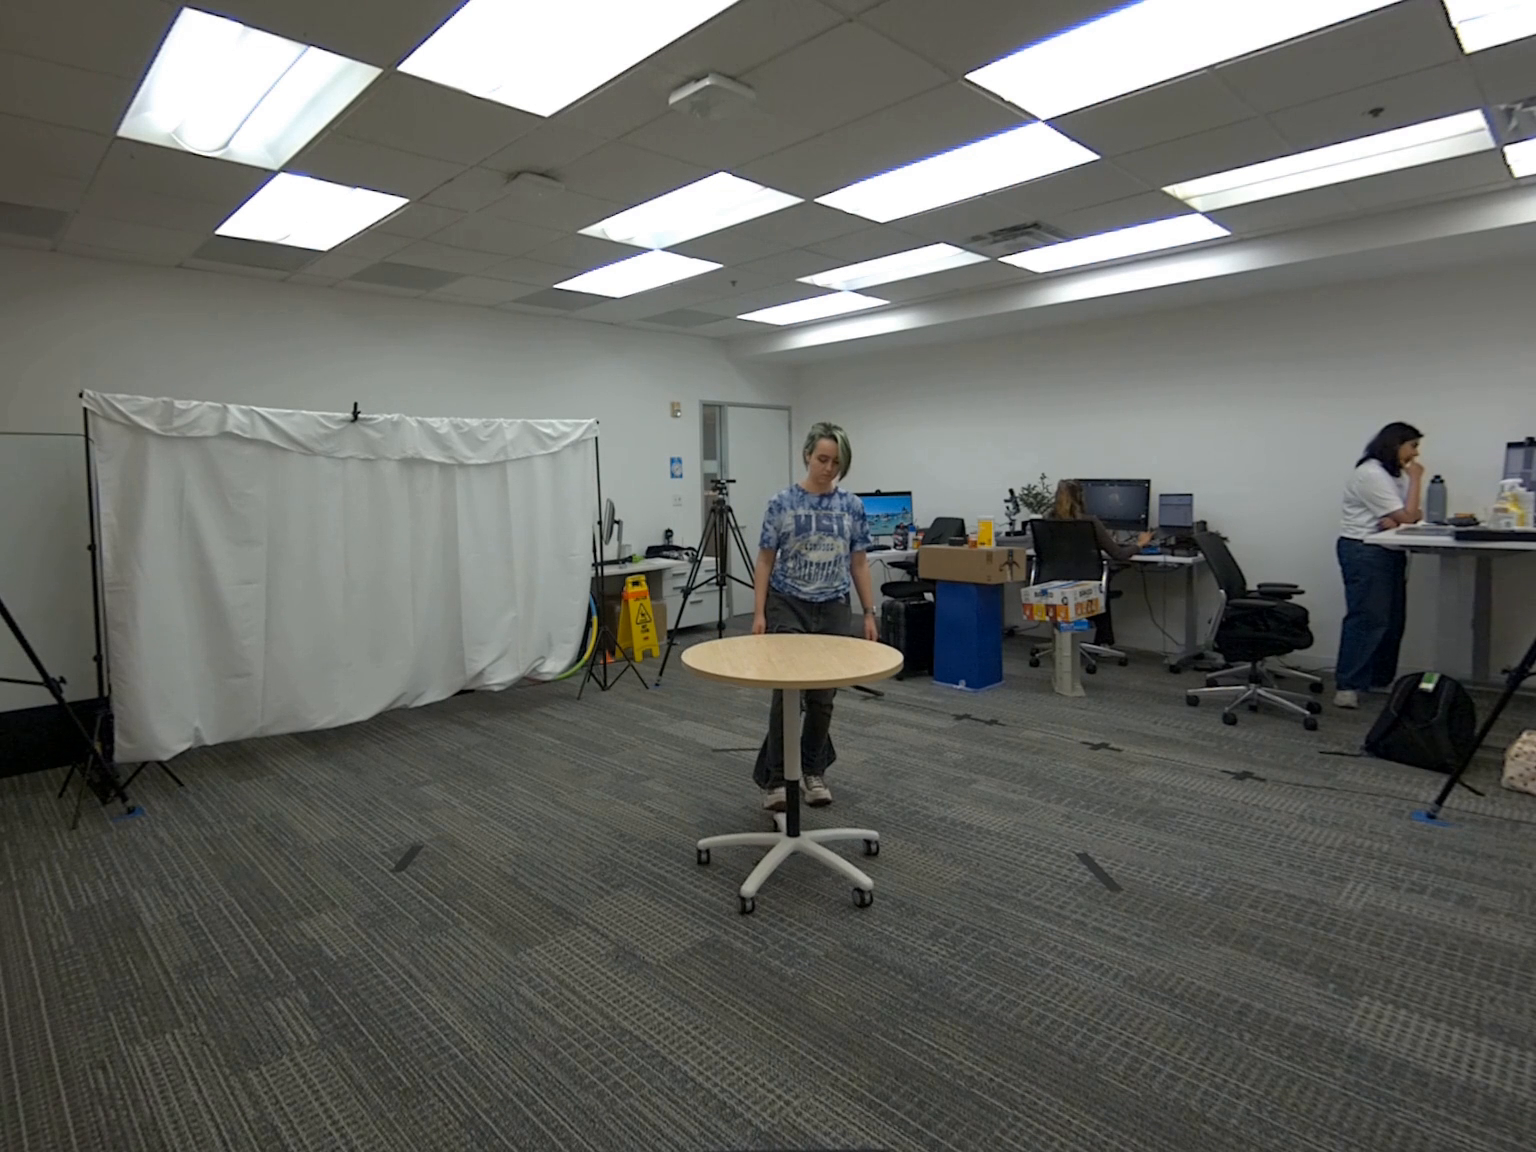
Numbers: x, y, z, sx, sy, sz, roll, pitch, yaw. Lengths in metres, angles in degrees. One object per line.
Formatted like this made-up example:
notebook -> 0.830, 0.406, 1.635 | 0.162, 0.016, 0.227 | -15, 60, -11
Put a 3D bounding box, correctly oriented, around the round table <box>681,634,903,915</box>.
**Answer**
round table -> 0.084, 0.670, 2.993 | 0.763, 0.791, 0.768 | -1, 5, -2
